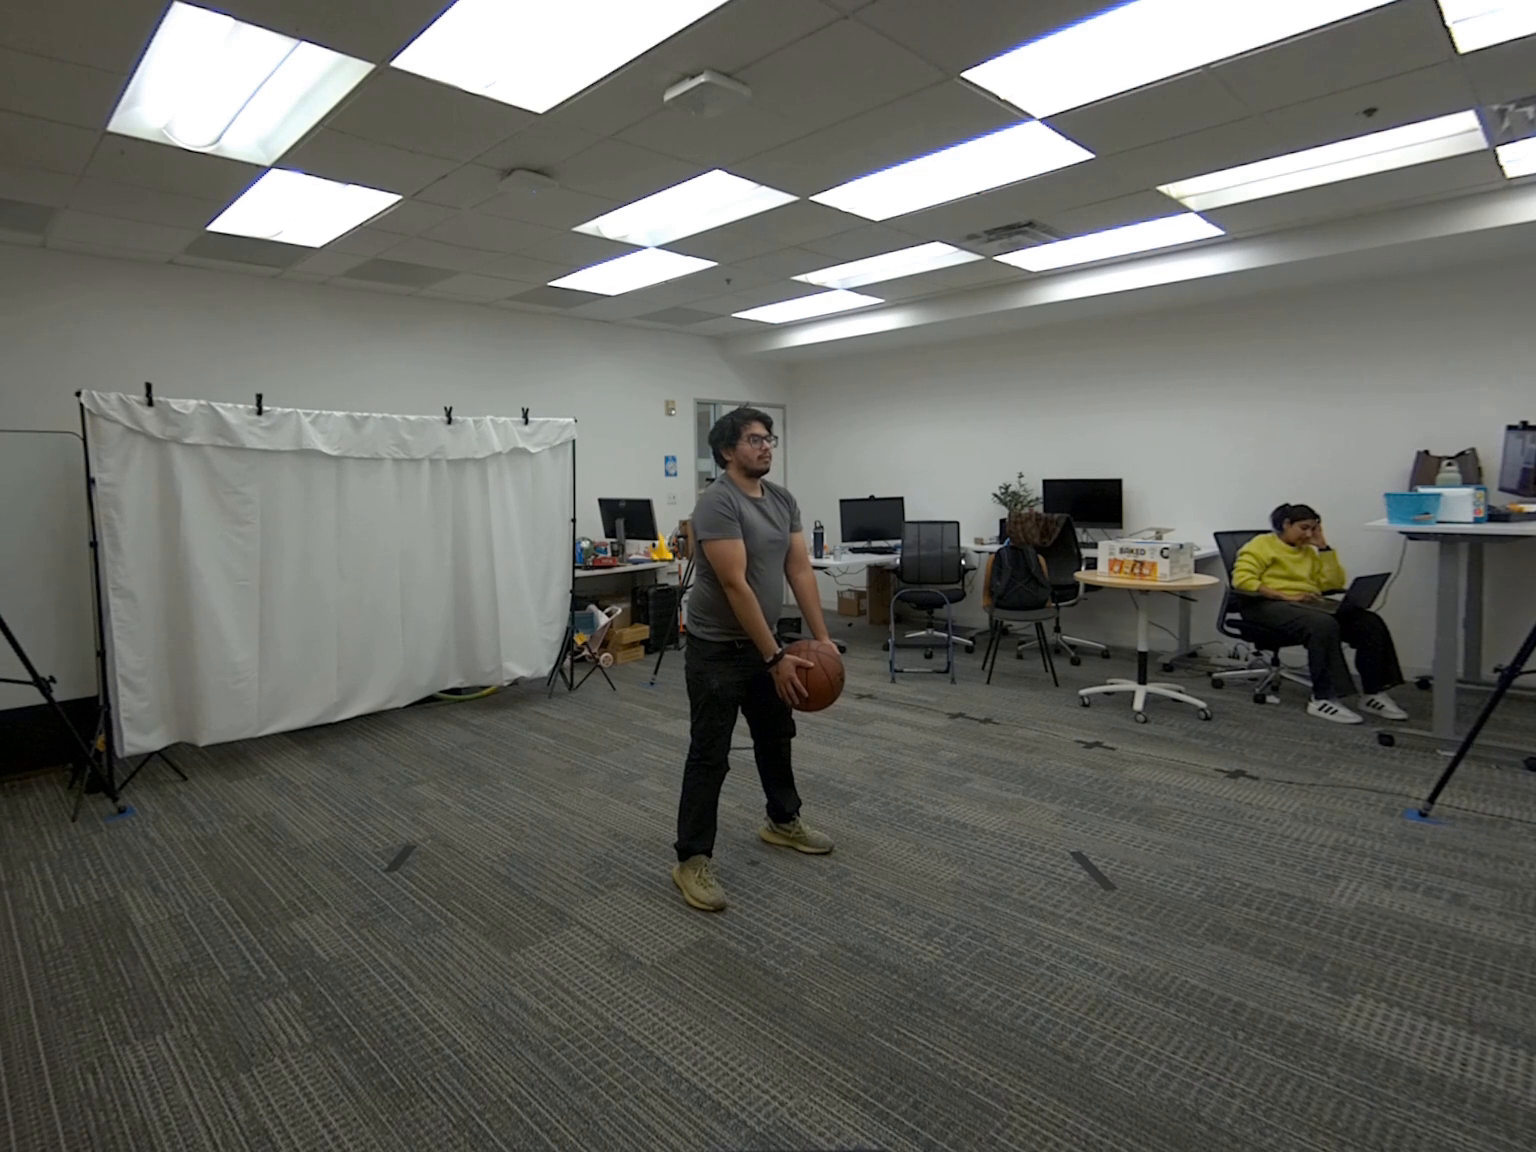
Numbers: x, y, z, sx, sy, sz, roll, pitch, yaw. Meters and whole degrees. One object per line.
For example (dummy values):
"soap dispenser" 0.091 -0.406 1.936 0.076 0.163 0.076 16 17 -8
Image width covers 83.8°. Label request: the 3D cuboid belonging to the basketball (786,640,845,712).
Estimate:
"basketball" 0.132 0.329 2.836 0.236 0.235 0.237 -1 5 -2
